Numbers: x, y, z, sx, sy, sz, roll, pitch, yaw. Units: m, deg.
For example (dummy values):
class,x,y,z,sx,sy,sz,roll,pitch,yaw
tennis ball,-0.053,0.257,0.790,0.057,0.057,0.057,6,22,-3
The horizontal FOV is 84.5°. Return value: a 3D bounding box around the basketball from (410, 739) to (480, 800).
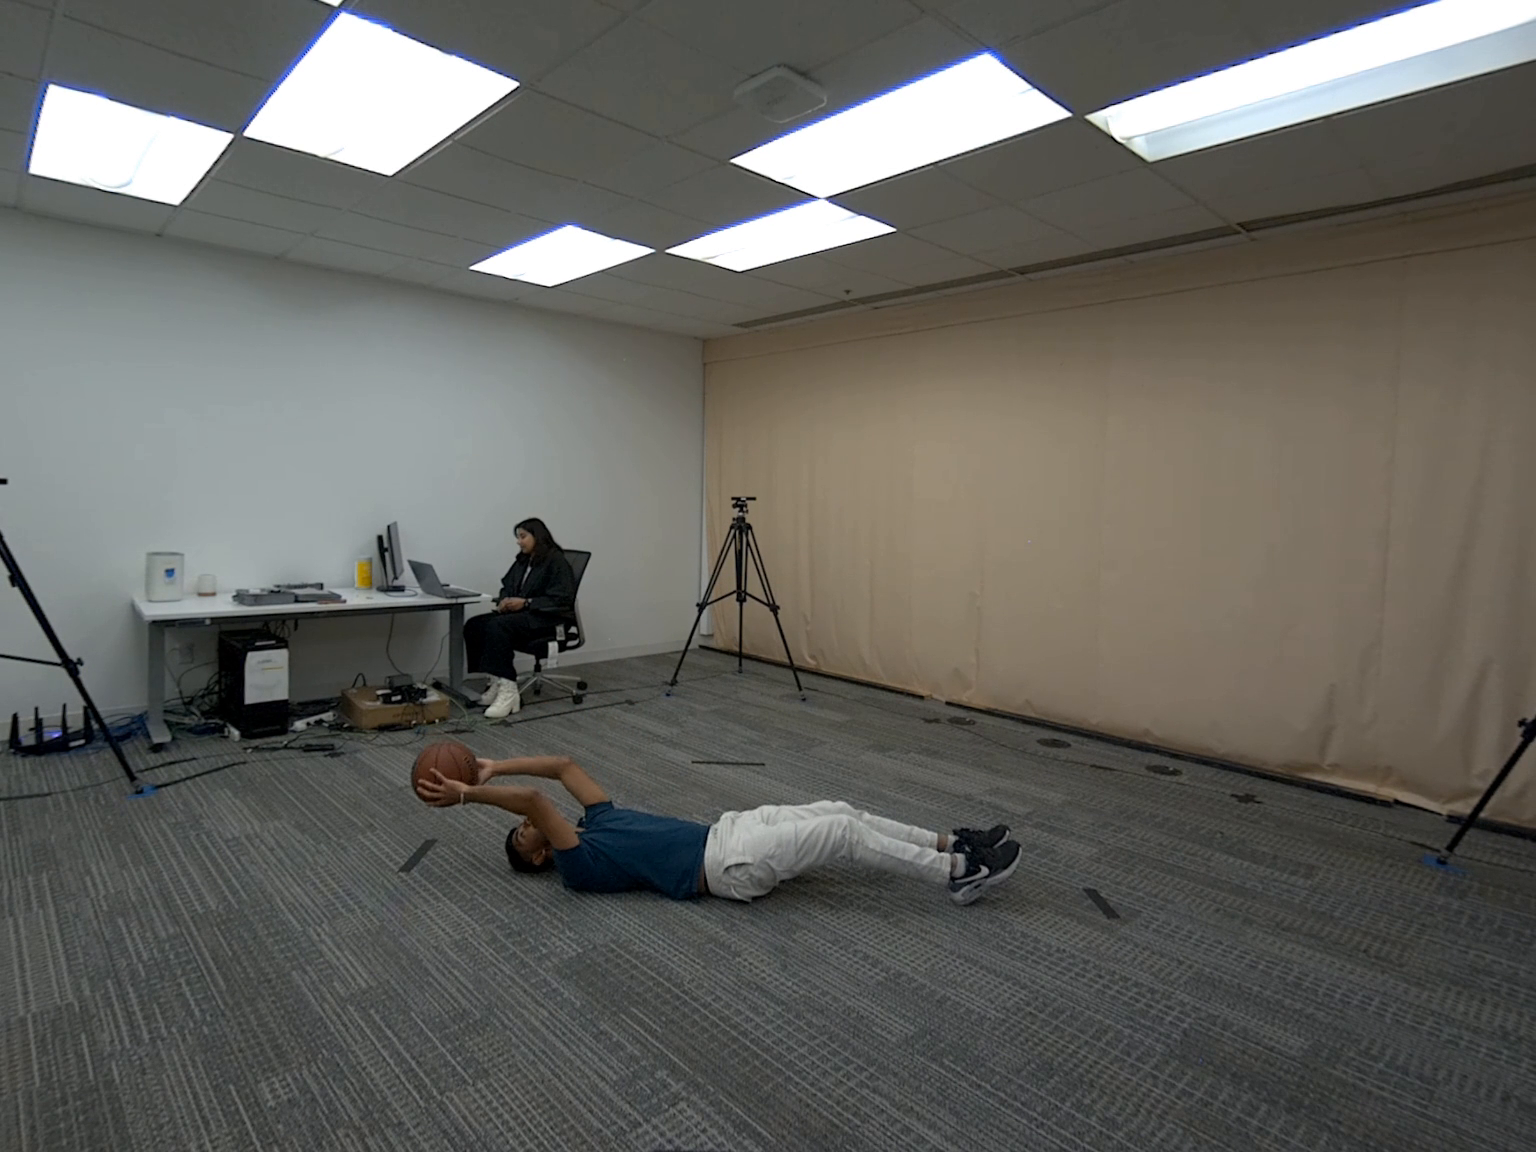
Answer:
class,x,y,z,sx,sy,sz,roll,pitch,yaw
basketball,-1.196,0.731,3.117,0.236,0.235,0.237,1,4,-1
